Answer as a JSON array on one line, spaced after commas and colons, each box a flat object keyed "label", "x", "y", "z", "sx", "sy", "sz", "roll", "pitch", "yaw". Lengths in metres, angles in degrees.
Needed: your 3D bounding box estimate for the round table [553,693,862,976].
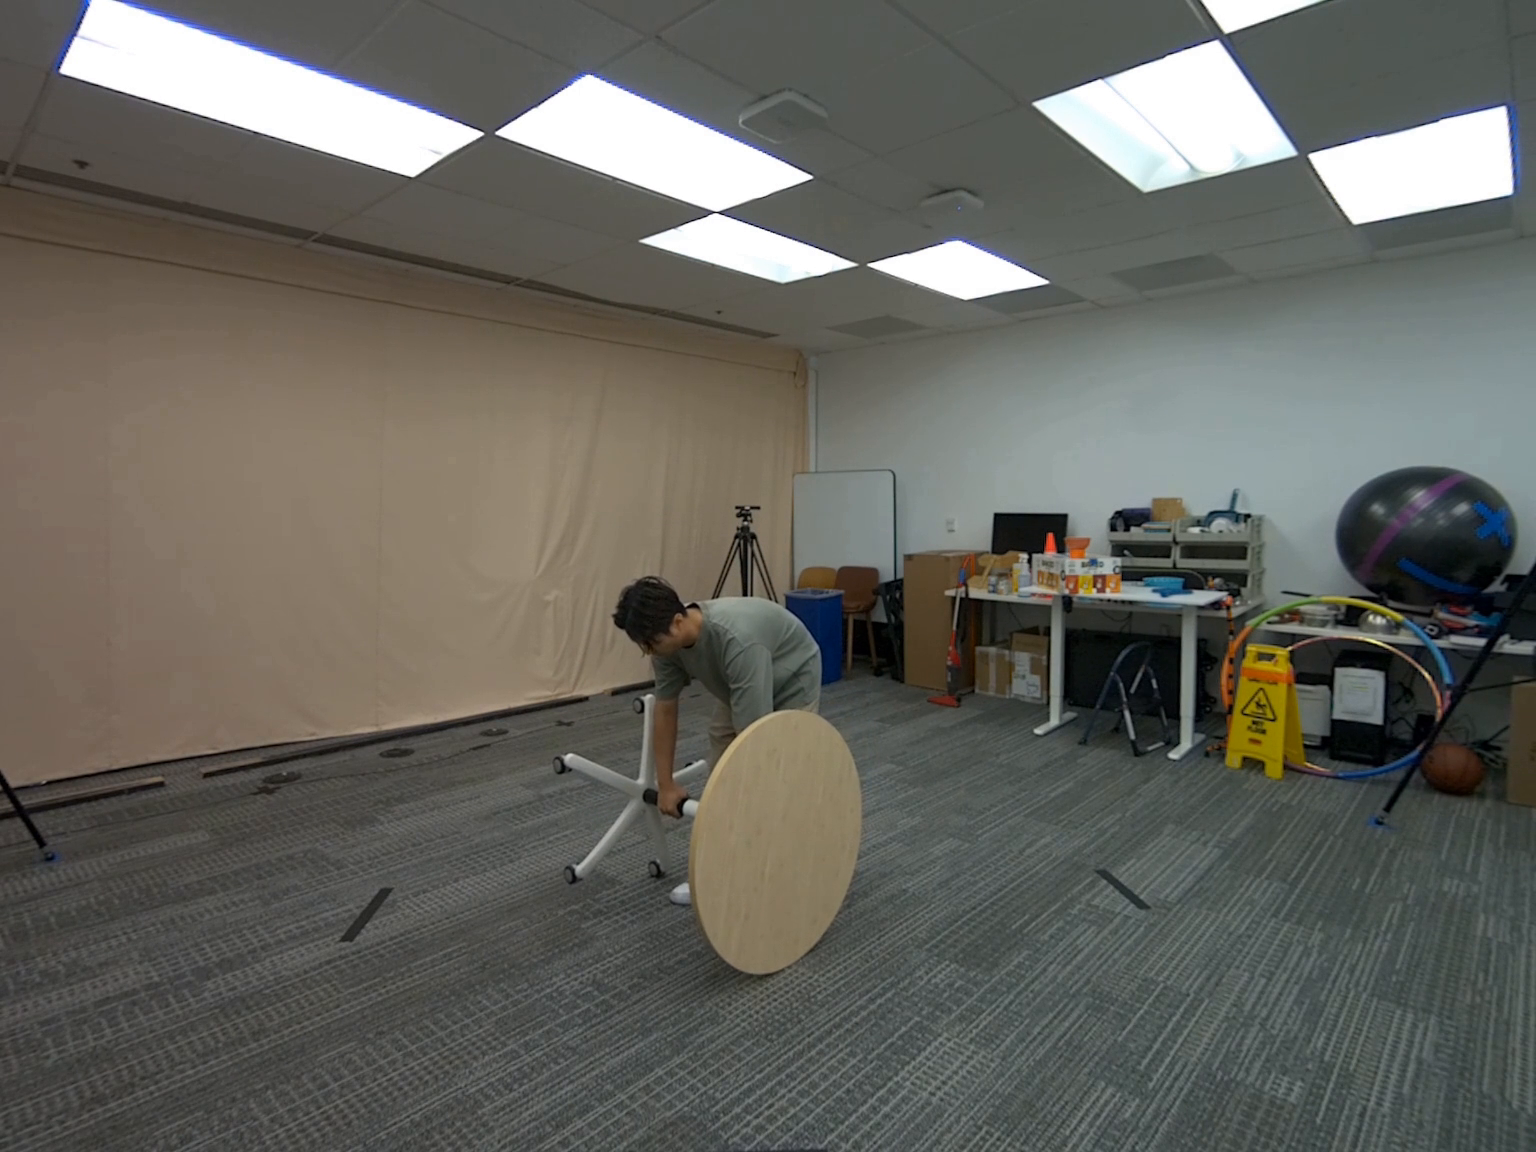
[{"label": "round table", "x": -0.242, "y": 0.791, "z": 2.819, "sx": 0.811, "sy": 0.785, "sz": 0.761, "roll": -2, "pitch": 2, "yaw": 43}]
